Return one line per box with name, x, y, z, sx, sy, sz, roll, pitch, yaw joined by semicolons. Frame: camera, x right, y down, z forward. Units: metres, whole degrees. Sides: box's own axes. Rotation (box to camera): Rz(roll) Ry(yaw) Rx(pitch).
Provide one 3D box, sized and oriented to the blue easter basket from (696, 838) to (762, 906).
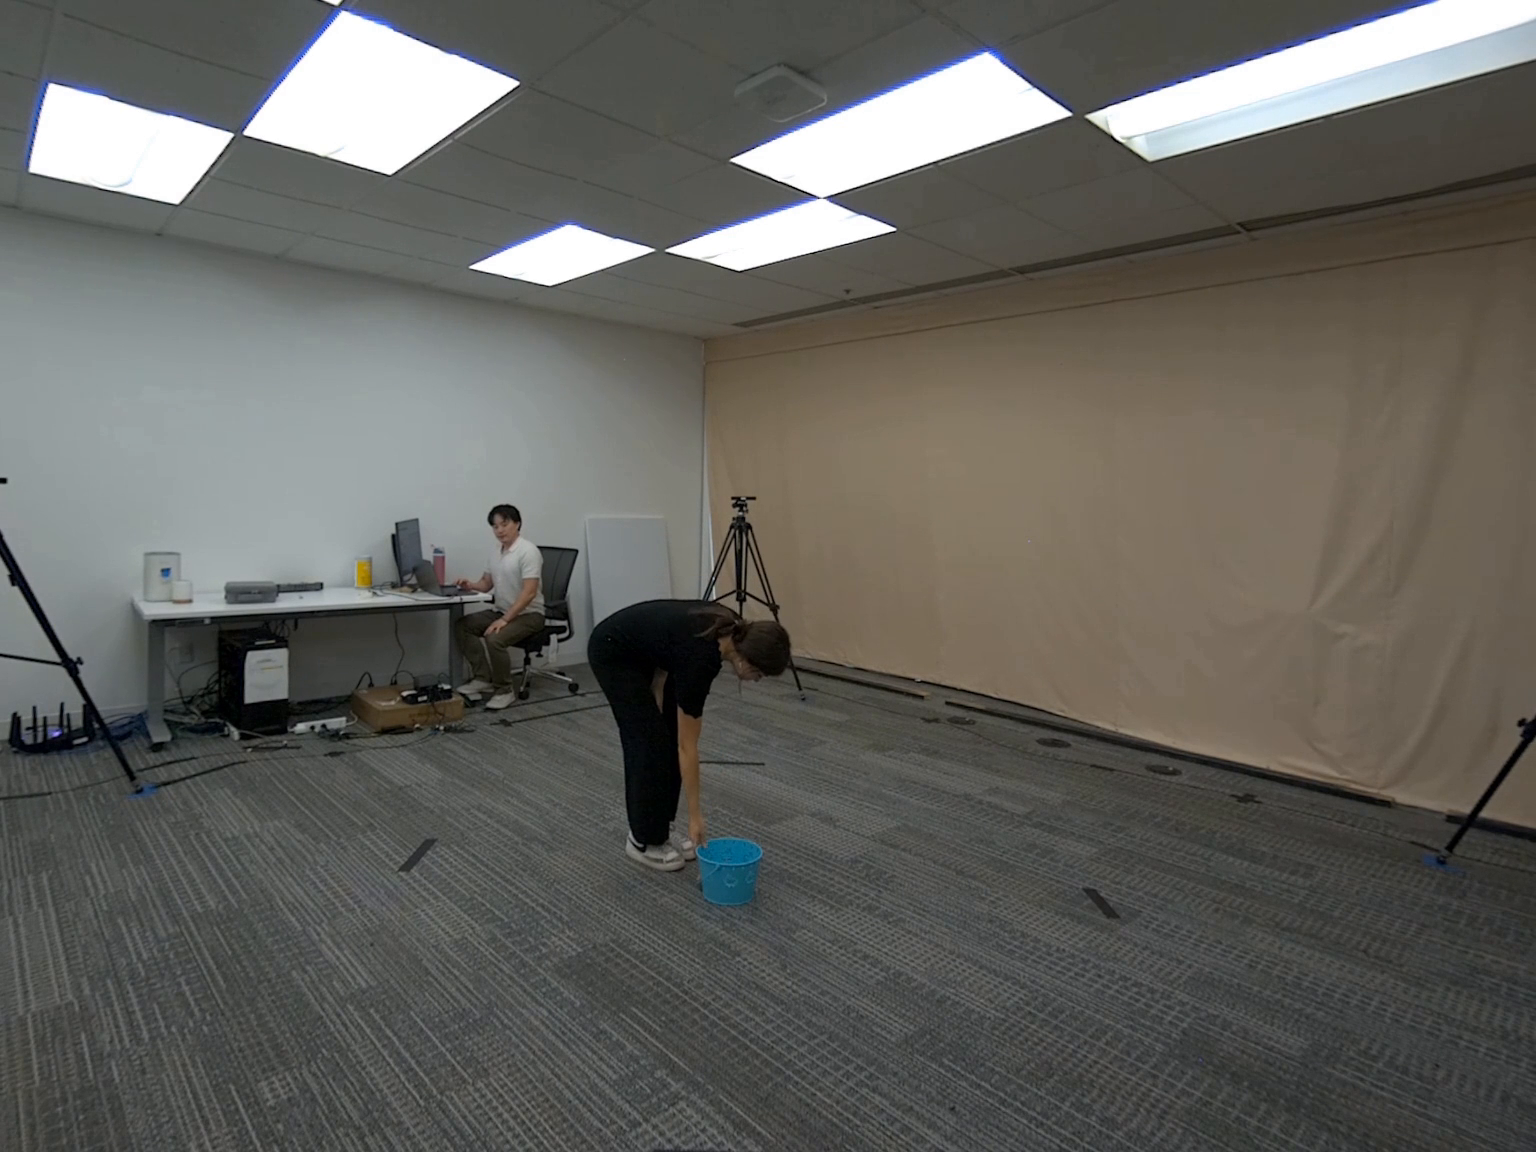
blue easter basket;-0.151;1.042;2.967;0.243;0.155;0.245;0;6;-1
